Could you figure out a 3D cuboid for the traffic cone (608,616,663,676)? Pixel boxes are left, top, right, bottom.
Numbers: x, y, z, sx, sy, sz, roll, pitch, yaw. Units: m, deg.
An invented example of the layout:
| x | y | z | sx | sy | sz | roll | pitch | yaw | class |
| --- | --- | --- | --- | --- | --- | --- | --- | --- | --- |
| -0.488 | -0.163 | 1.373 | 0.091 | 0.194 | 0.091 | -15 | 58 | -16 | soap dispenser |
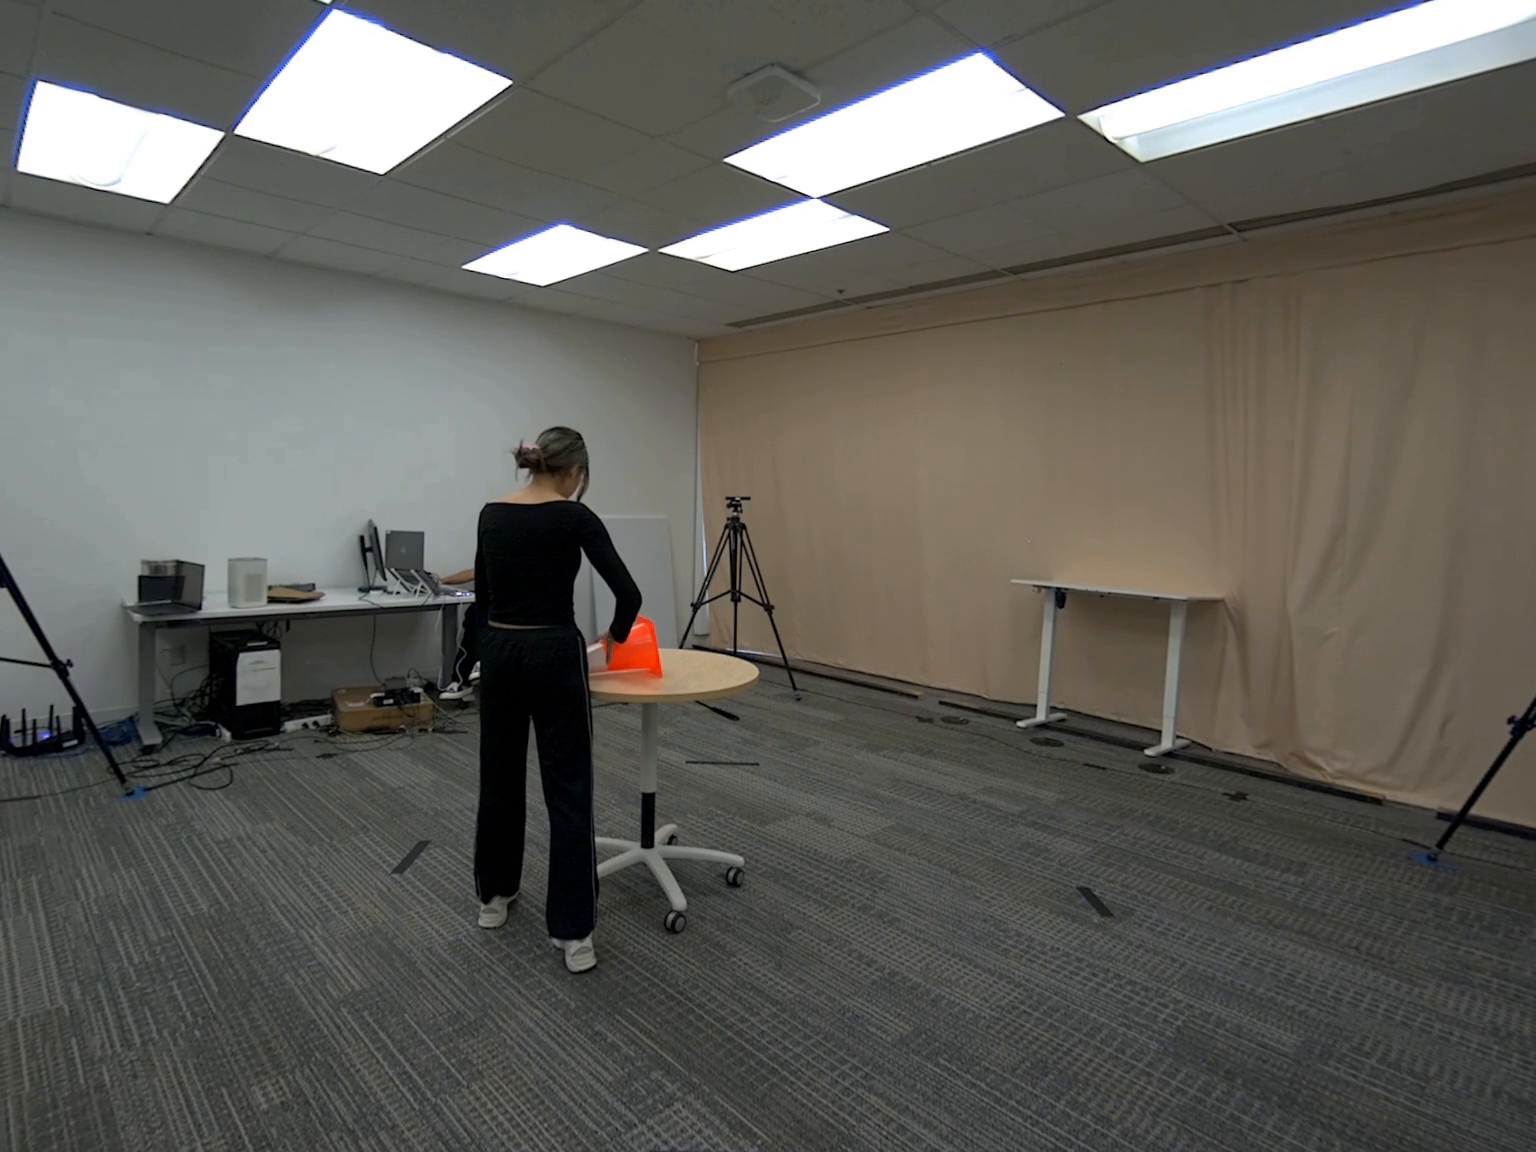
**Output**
| x | y | z | sx | sy | sz | roll | pitch | yaw | class |
| --- | --- | --- | --- | --- | --- | --- | --- | --- | --- |
| -0.584 | 0.284 | 2.829 | 0.379 | 0.202 | 0.209 | -15 | 10 | -22 | traffic cone |
